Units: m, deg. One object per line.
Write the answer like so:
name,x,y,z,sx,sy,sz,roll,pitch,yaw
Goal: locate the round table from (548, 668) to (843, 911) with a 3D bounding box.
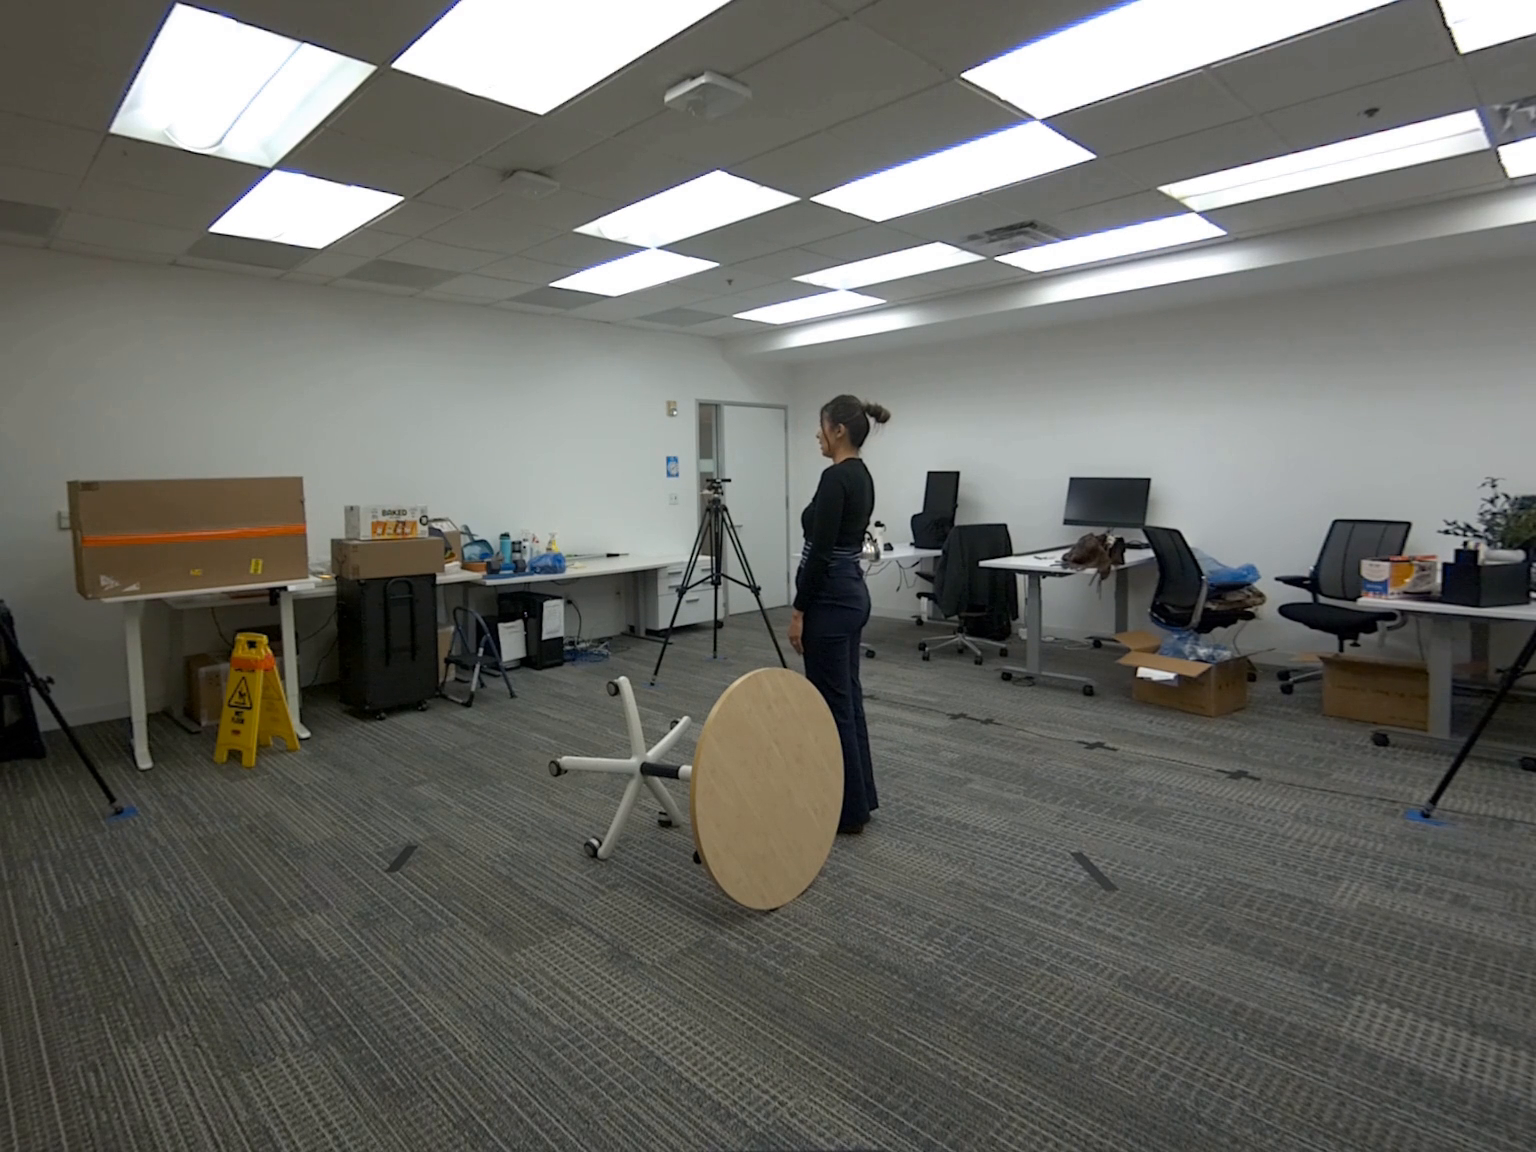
round table,-0.270,0.722,3.097,0.814,0.765,0.744,-6,0,41
